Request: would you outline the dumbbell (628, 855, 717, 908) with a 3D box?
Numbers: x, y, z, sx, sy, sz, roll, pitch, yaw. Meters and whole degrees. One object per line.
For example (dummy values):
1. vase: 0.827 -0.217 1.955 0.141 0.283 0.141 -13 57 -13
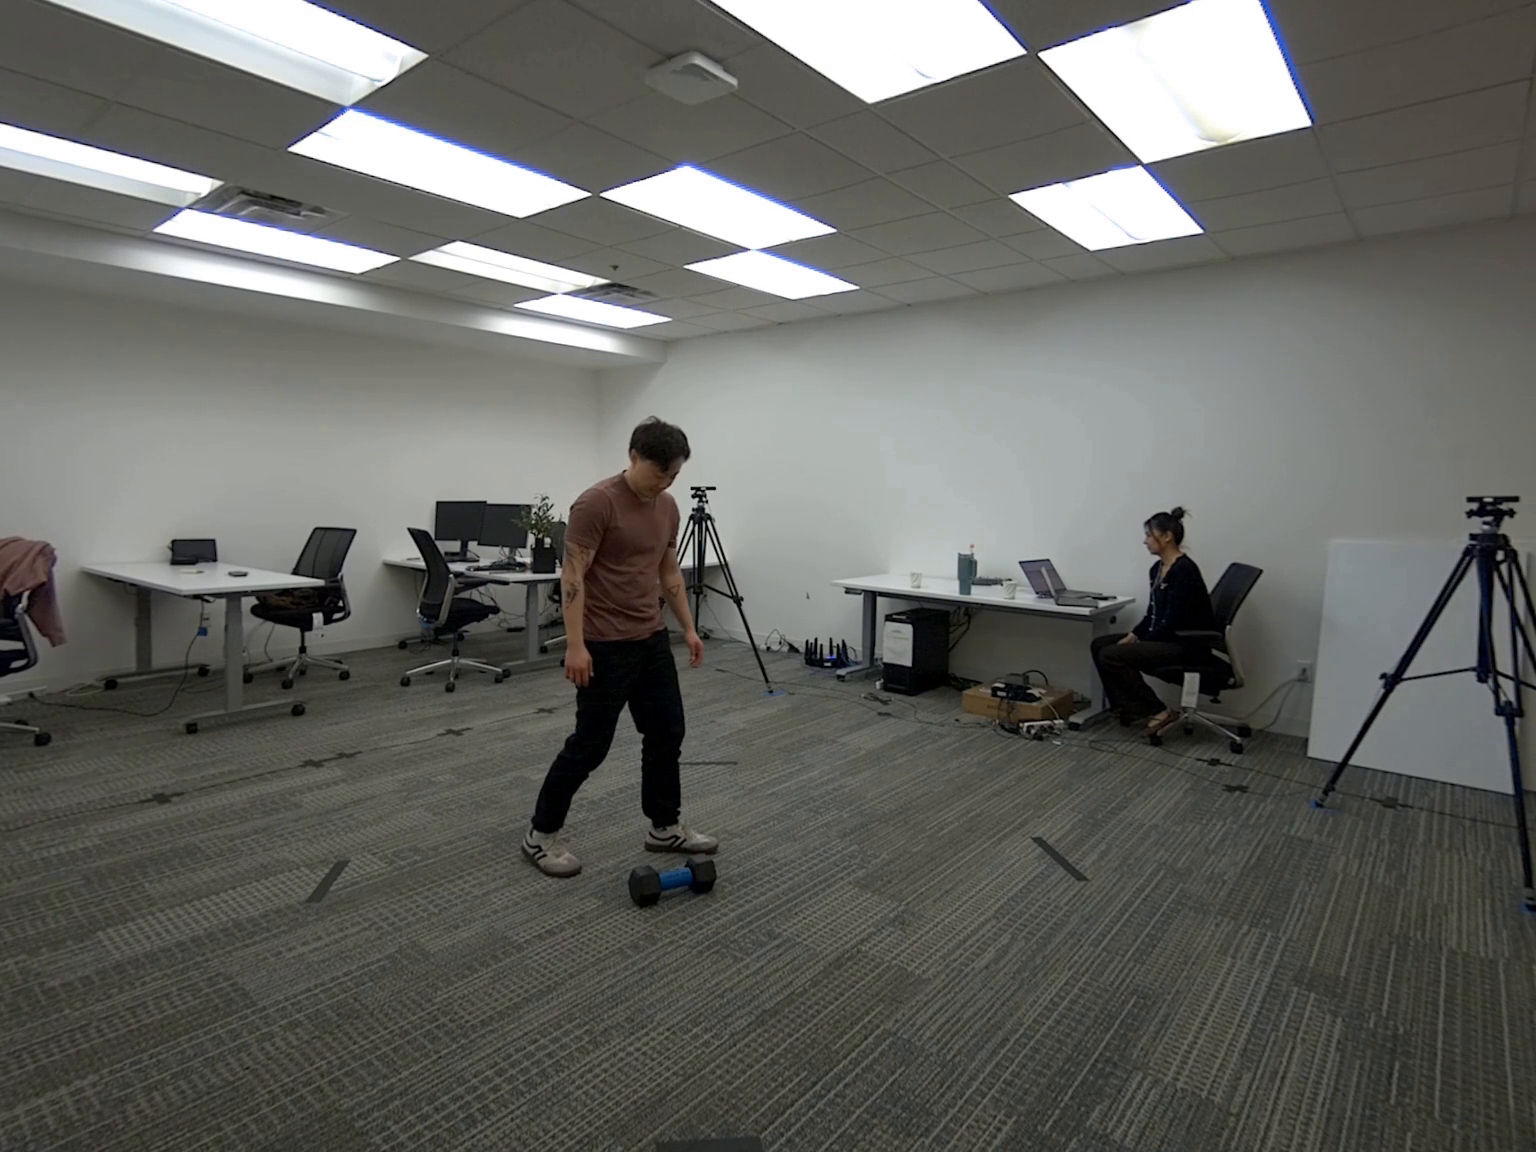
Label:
1. dumbbell: -0.335 1.029 2.892 0.286 0.121 0.113 -1 35 -30
